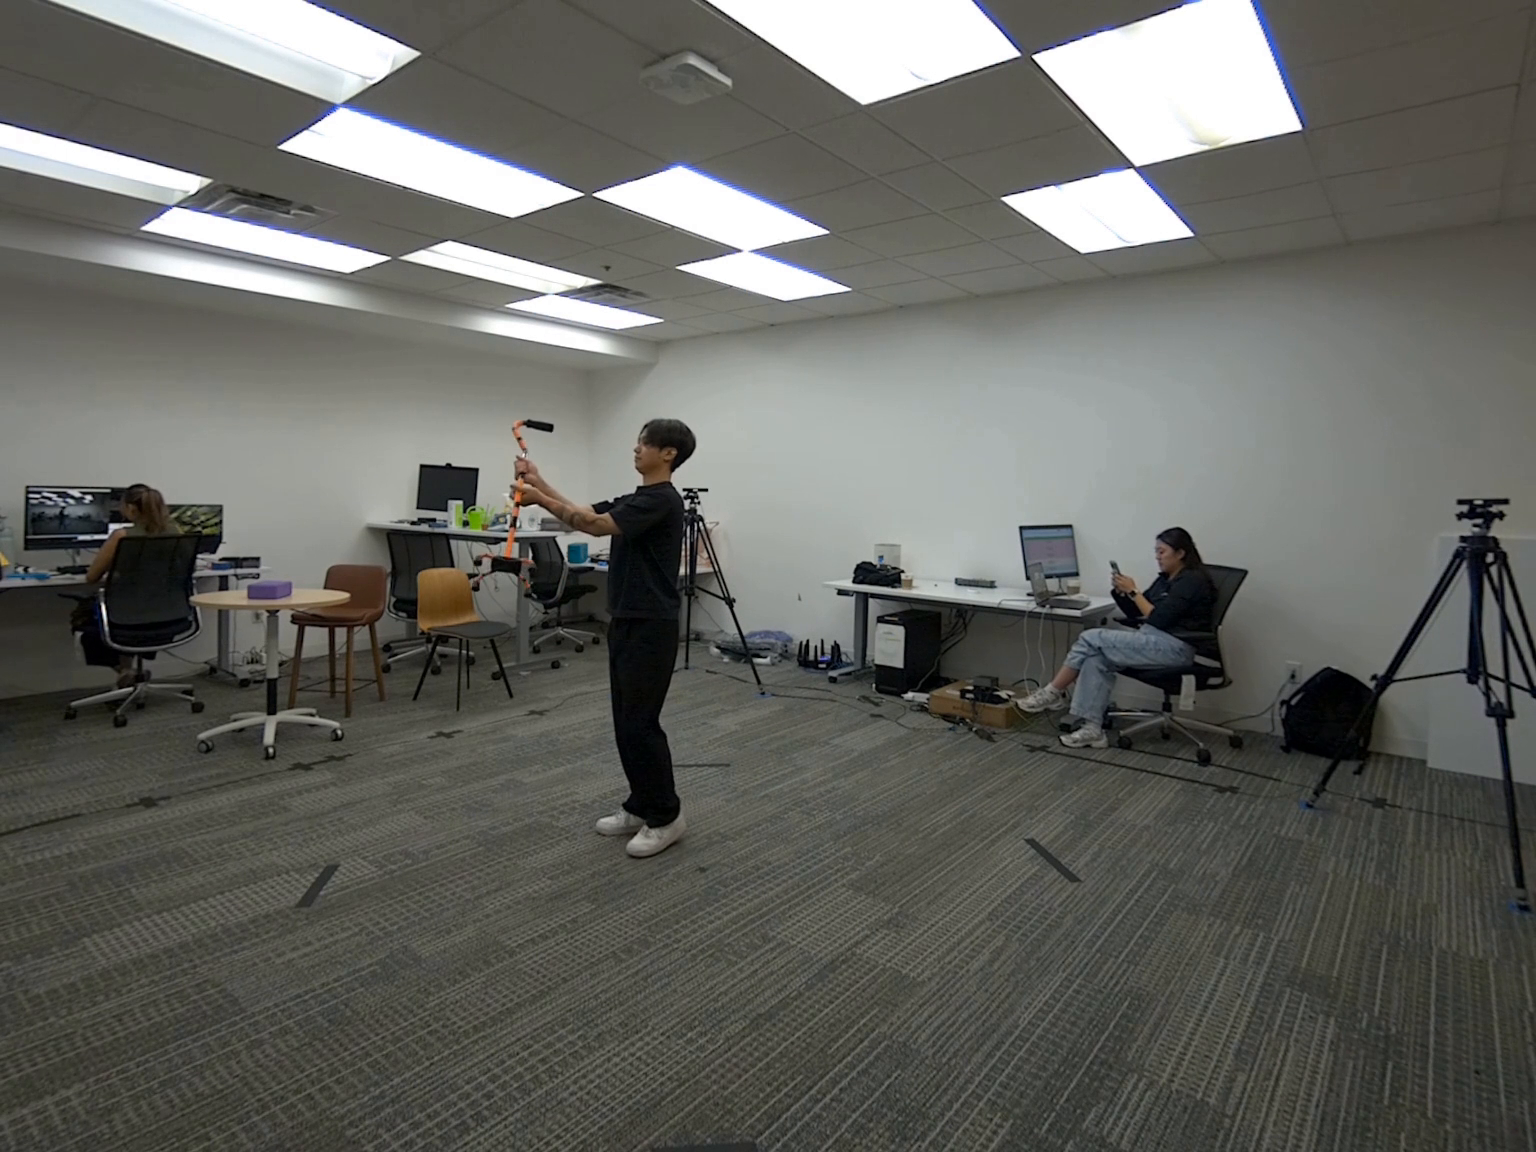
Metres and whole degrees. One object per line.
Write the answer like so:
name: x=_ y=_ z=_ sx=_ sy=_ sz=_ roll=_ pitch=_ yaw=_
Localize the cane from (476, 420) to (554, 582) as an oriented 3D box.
cane: x=-0.954 y=-0.310 z=3.199 sx=0.203 sy=0.149 sz=0.938 roll=6 pitch=43 yaw=-15
